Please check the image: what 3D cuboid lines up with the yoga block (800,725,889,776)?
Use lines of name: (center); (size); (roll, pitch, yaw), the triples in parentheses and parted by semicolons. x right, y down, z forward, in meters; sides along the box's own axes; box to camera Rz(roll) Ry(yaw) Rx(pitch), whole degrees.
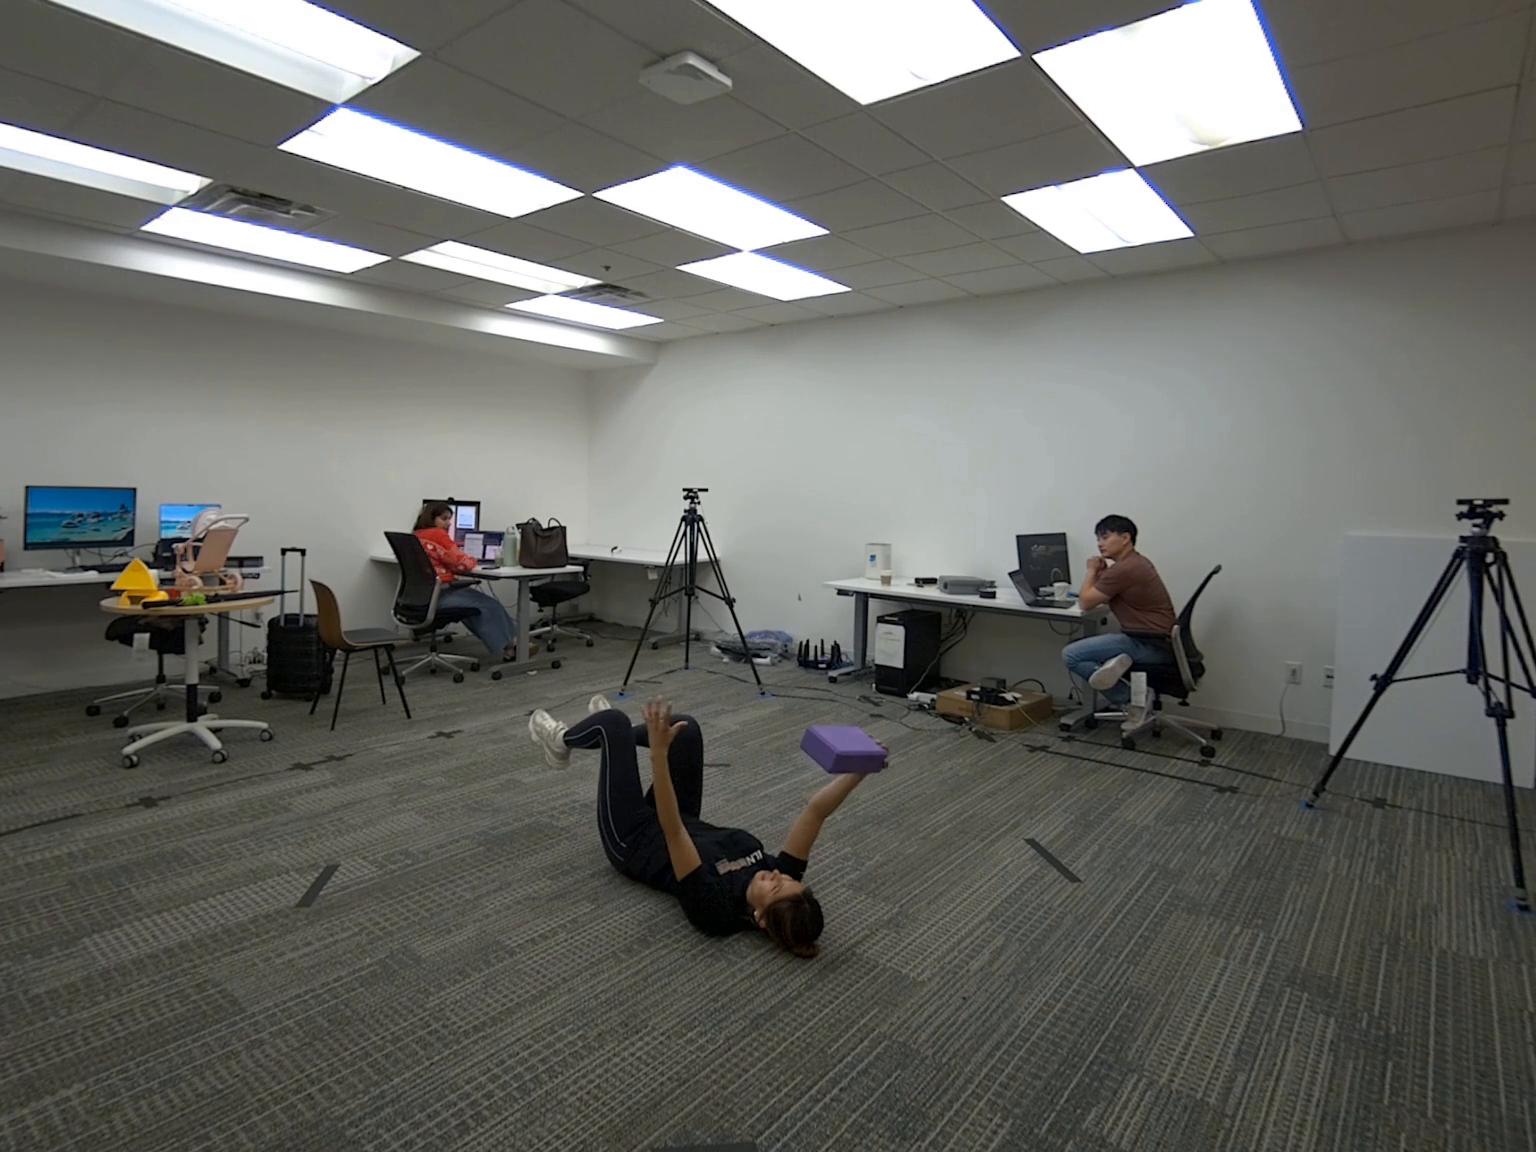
yoga block: (0.213, 0.512, 2.492); (0.221, 0.076, 0.155); (12, 15, -39)
